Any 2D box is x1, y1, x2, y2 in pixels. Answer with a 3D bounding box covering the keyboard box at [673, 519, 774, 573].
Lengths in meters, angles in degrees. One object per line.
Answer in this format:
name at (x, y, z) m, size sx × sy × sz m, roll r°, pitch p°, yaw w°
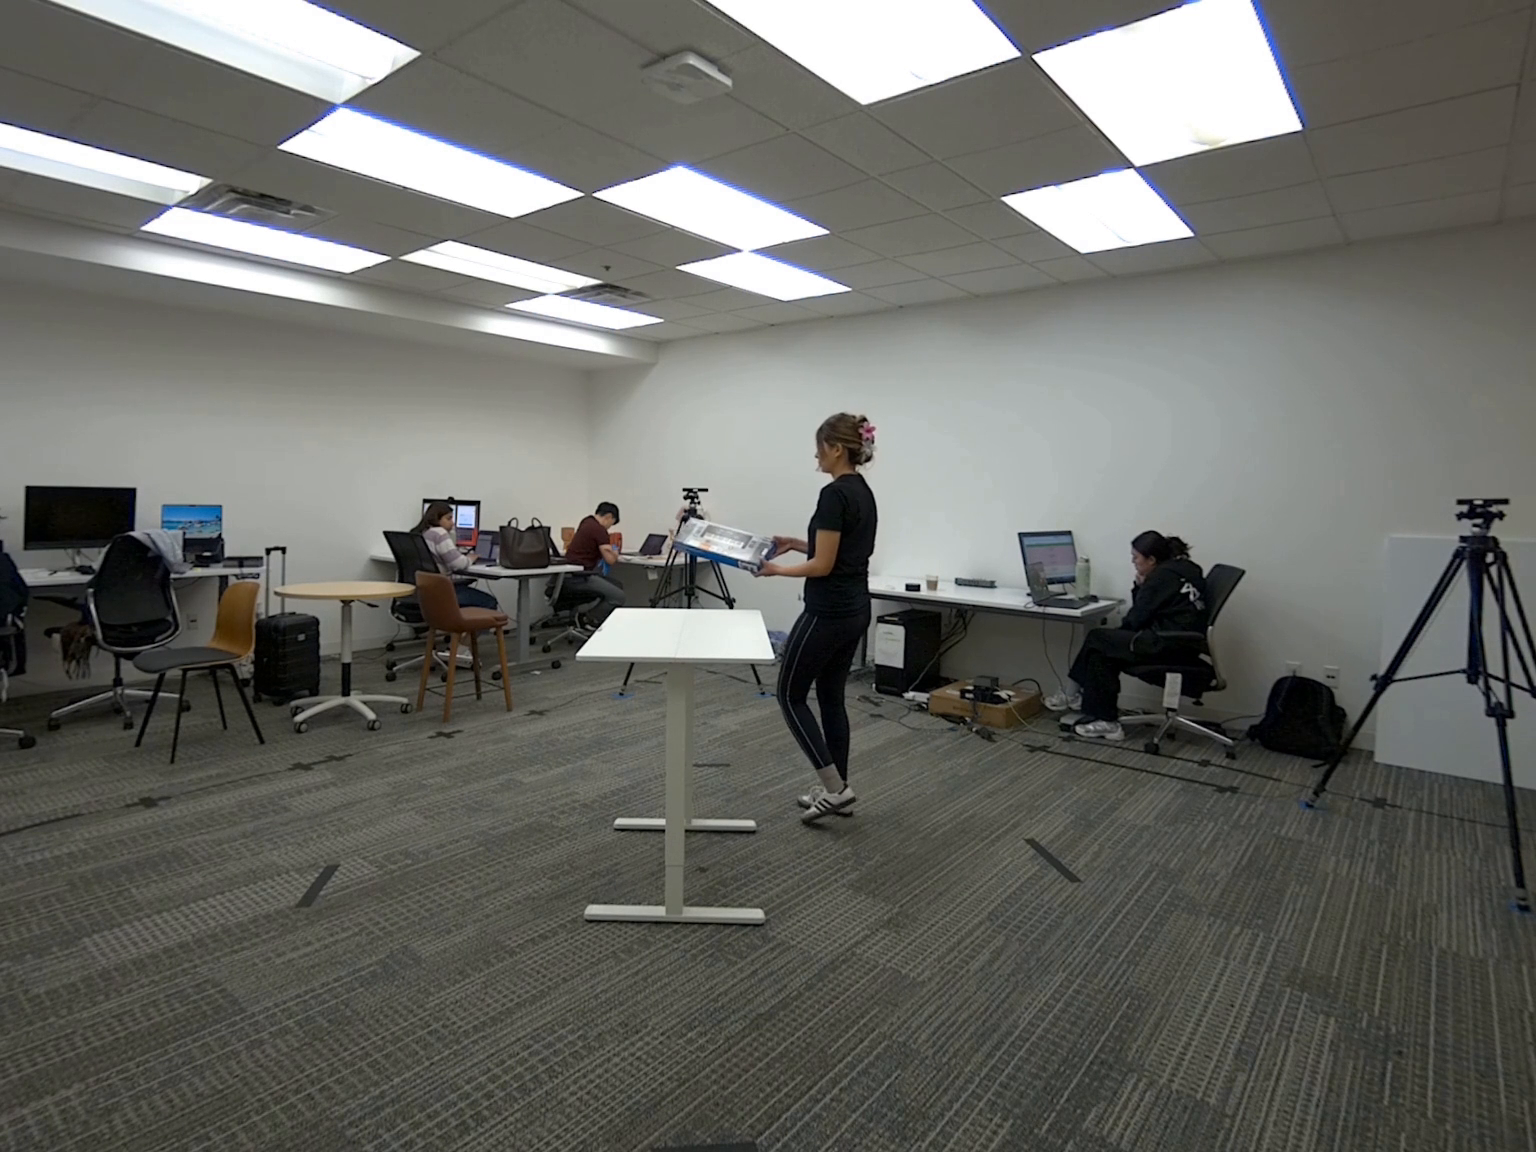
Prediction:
keyboard box at (-0.208, -0.142, 3.815) m, size 0.450 × 0.057 × 0.177 m, roll 15°, pitch 49°, yaw 24°
